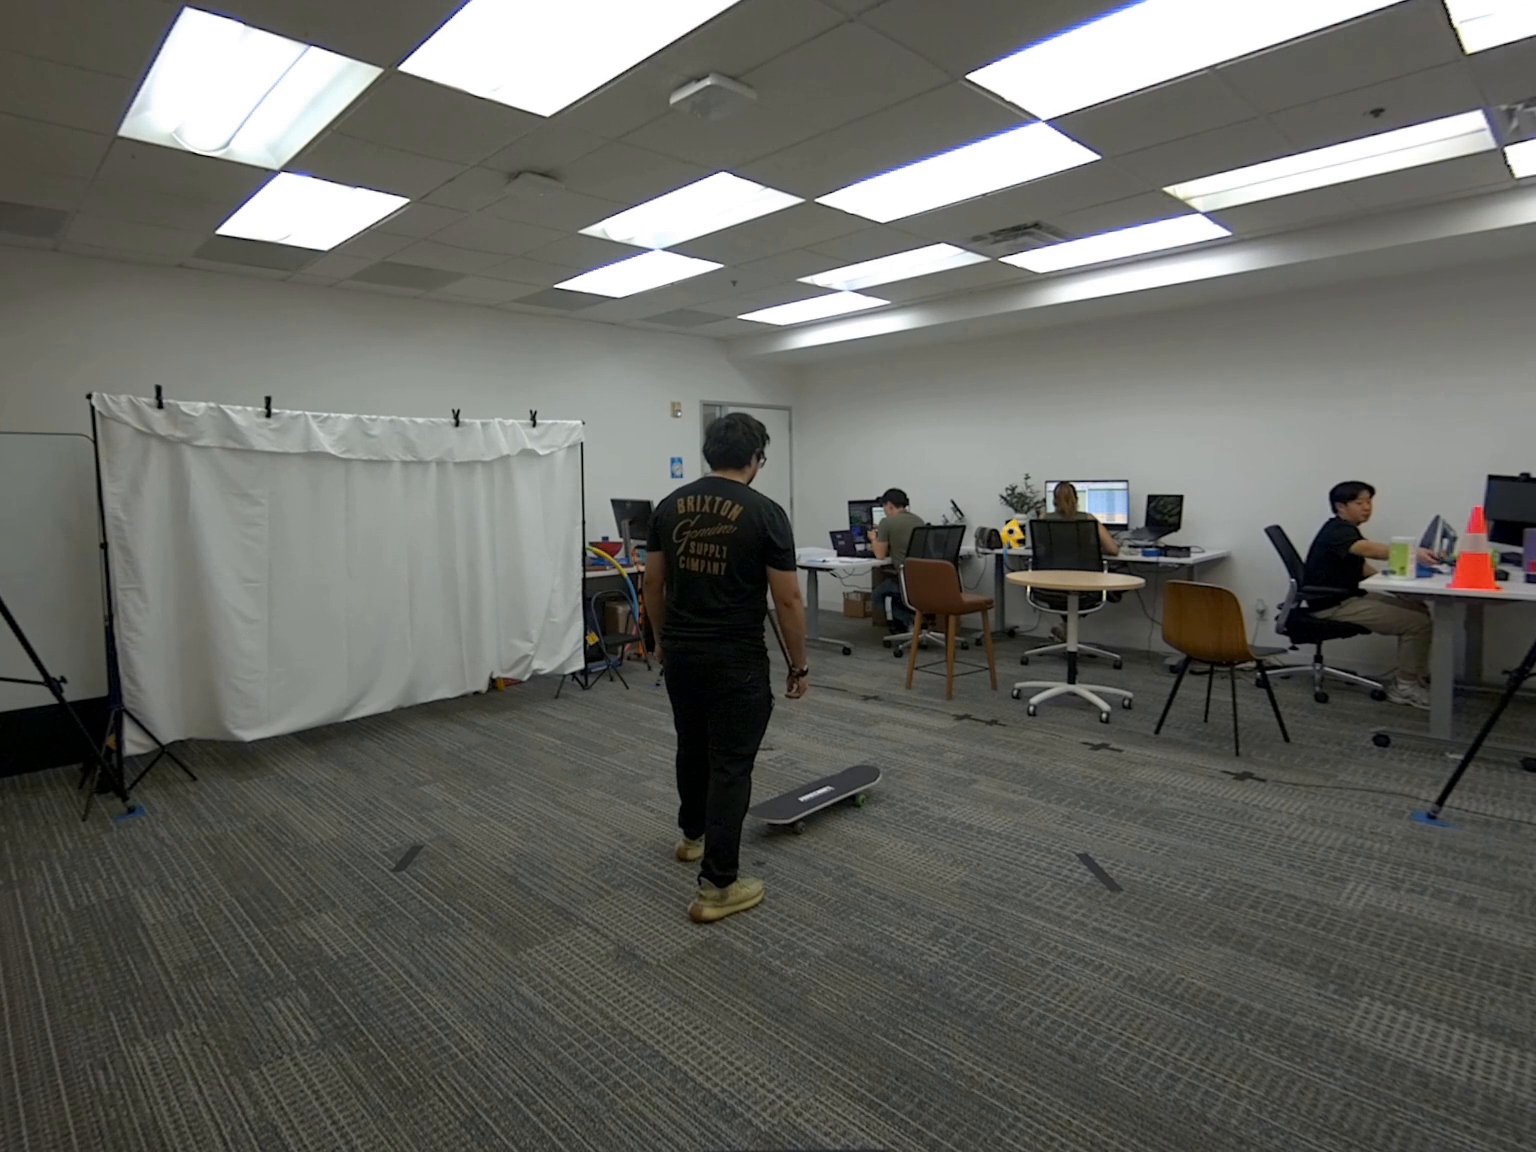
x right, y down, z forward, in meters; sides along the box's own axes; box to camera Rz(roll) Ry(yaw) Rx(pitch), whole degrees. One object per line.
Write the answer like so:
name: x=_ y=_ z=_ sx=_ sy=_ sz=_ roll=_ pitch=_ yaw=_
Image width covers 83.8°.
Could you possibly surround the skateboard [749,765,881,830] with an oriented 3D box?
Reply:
skateboard: x=0.204 y=0.937 z=3.556 sx=0.199 sy=0.110 sz=0.765 roll=5 pitch=9 yaw=43
